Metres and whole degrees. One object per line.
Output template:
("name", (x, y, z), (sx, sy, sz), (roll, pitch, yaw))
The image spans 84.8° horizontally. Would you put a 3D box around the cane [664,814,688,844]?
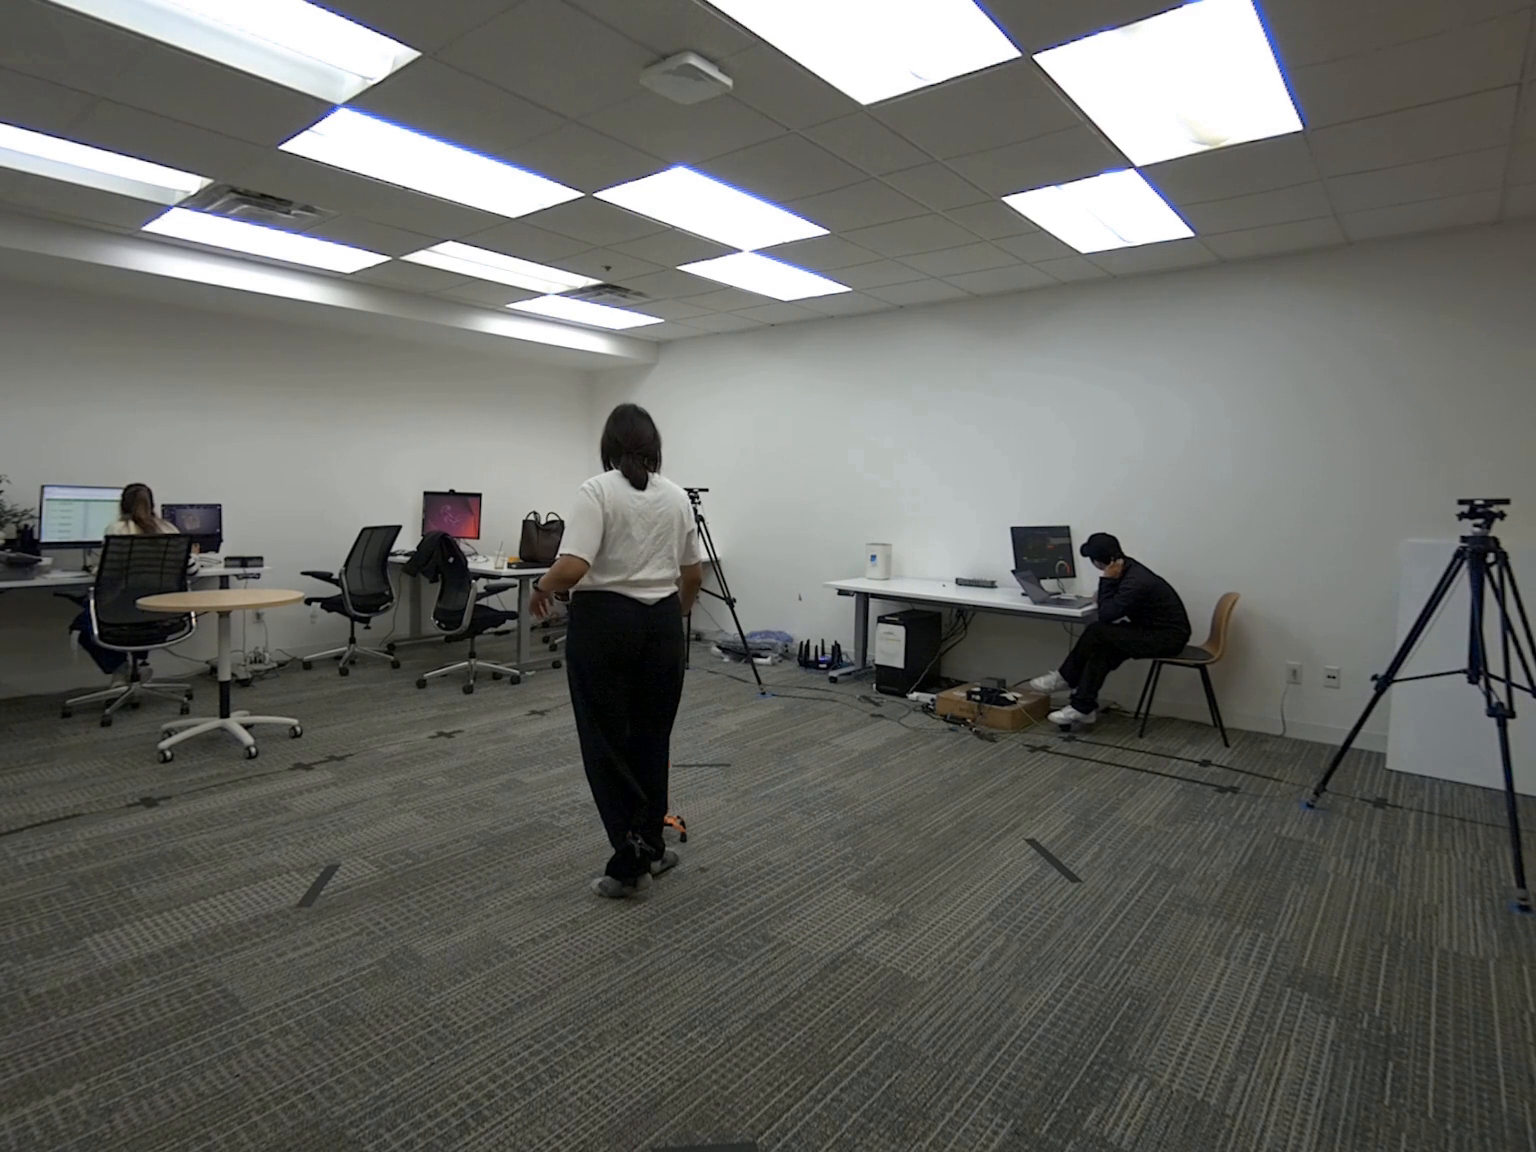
("cane", (-0.427, 0.580, 3.408), (0.206, 0.908, 0.152), (2, 0, -3))
